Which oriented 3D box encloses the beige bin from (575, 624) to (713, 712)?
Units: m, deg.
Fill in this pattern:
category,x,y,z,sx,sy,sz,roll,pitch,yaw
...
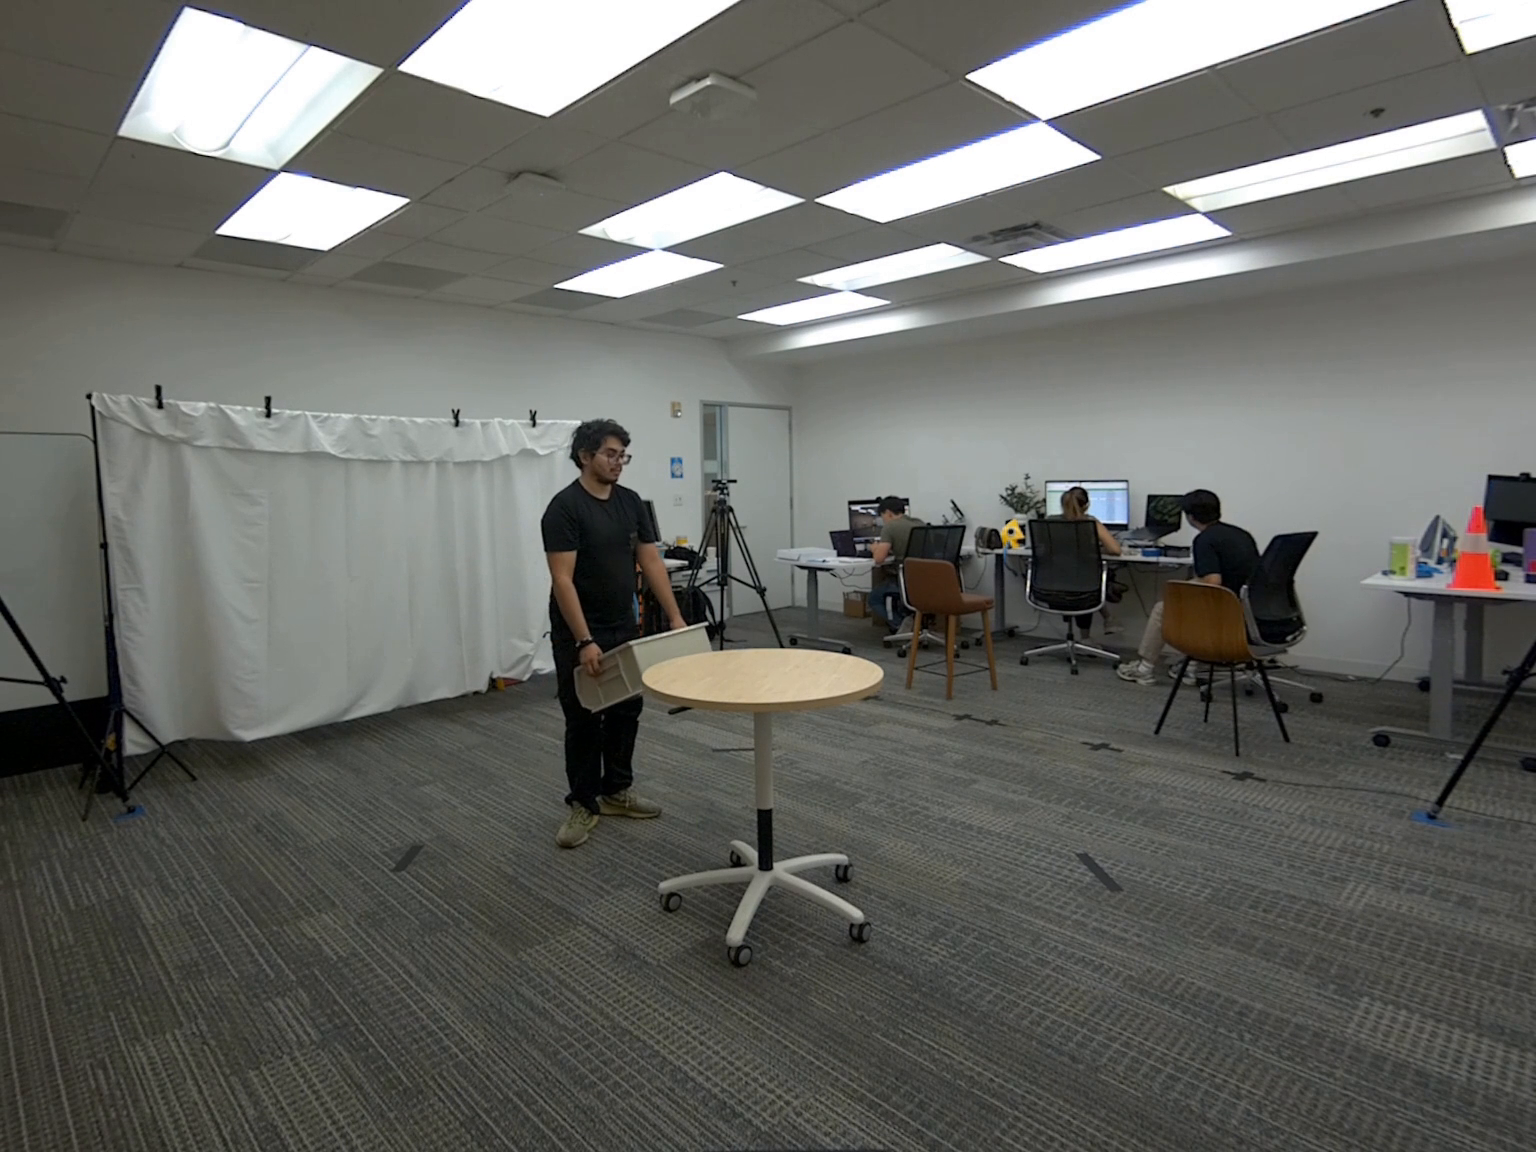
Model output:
category,x,y,z,sx,sy,sz,roll,pitch,yaw
beige bin,-0.463,0.353,3.265,0.382,0.191,0.412,-25,-9,38
